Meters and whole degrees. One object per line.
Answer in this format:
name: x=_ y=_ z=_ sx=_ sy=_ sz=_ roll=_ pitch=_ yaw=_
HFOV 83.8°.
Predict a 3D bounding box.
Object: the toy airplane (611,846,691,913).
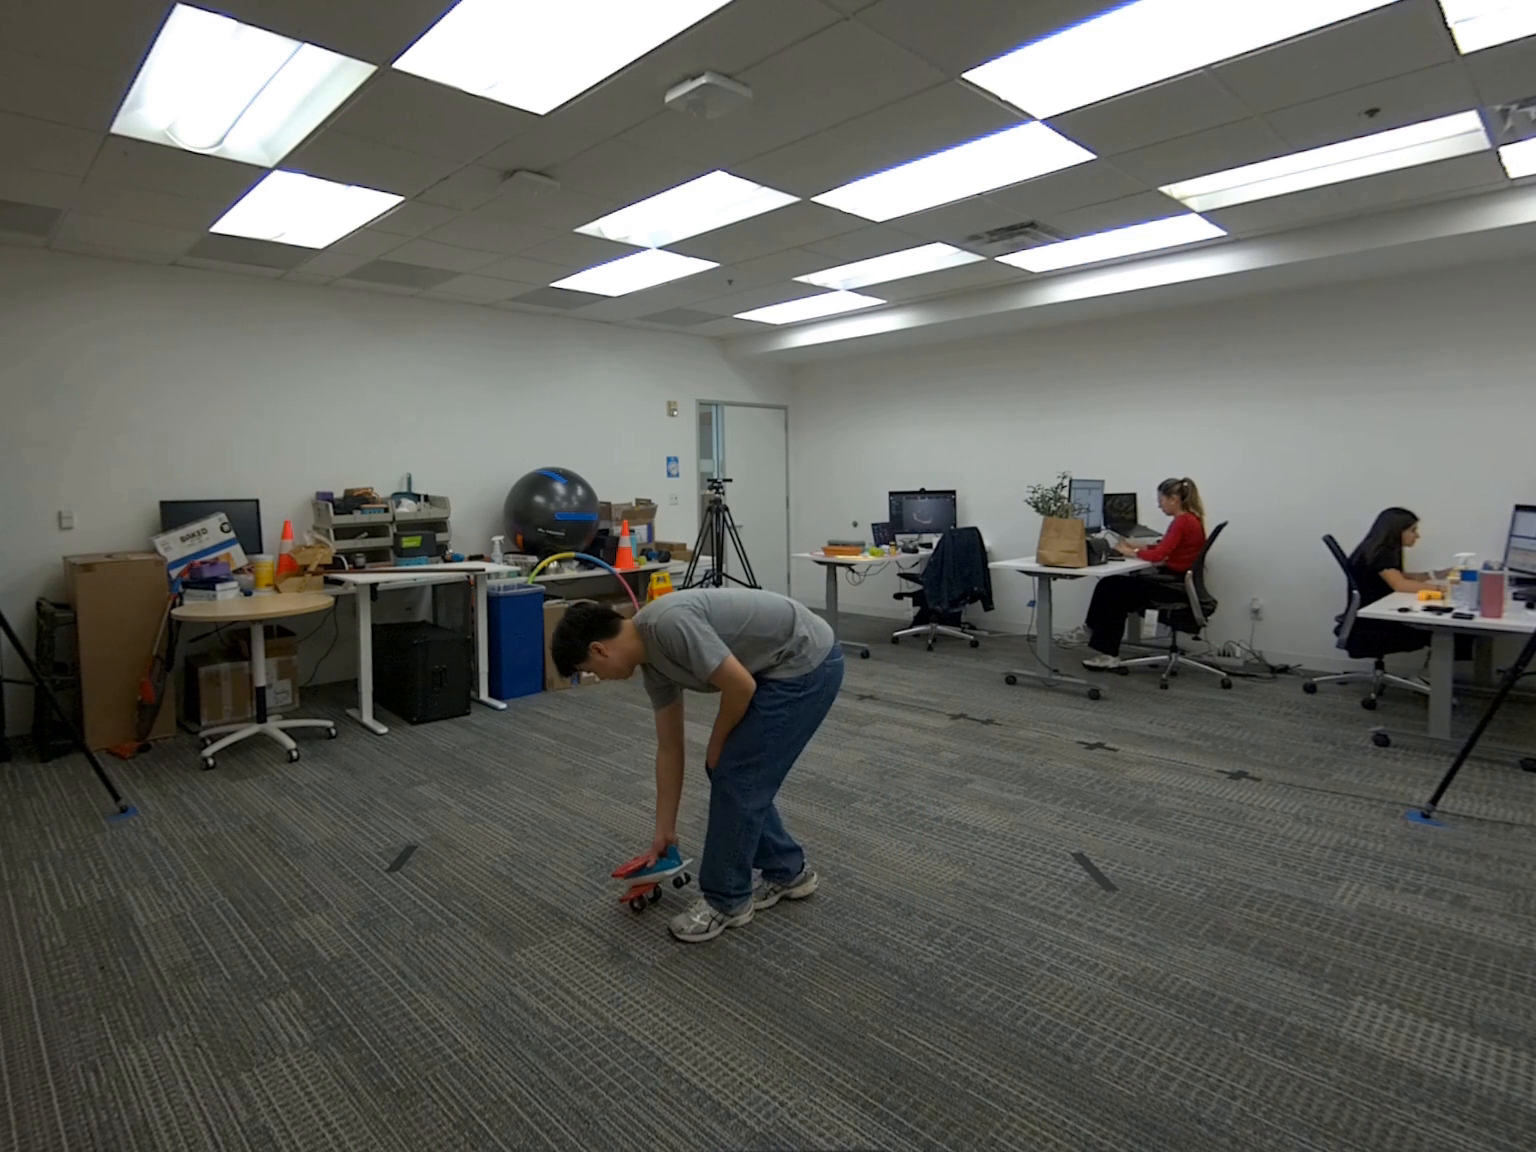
toy airplane: x=-0.353 y=0.974 z=2.796 sx=0.259 sy=0.159 sz=0.246 roll=-33 pitch=-14 yaw=2
